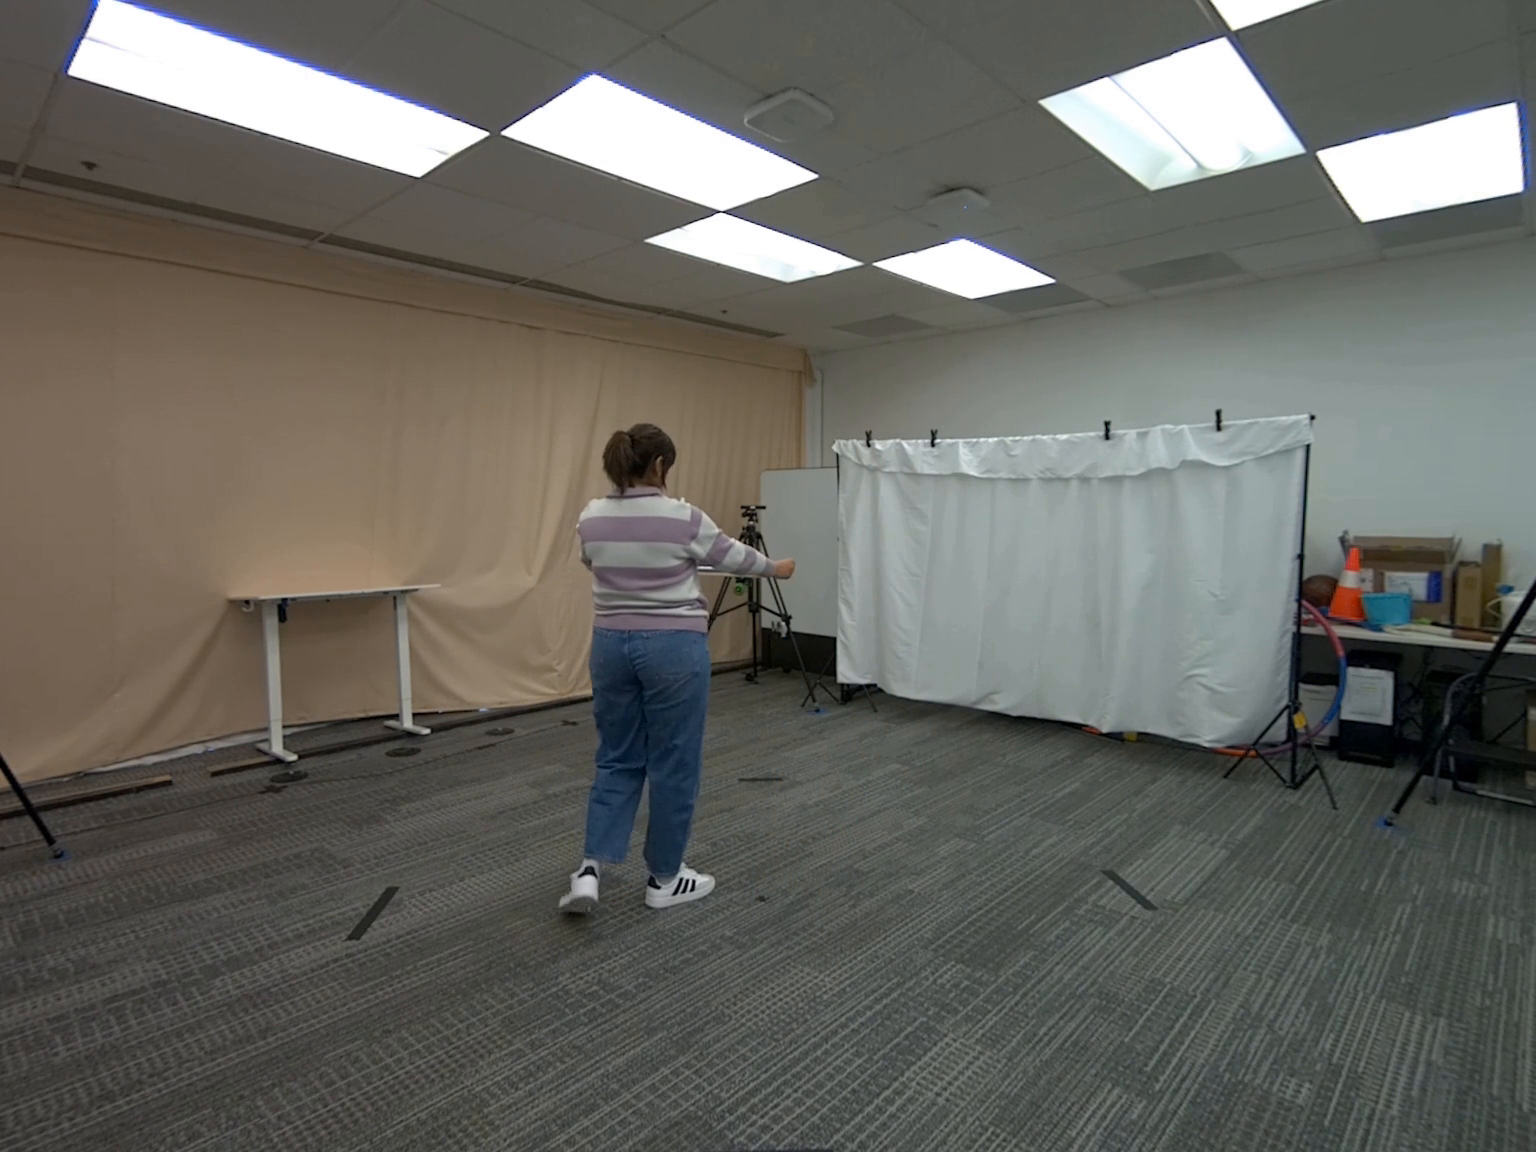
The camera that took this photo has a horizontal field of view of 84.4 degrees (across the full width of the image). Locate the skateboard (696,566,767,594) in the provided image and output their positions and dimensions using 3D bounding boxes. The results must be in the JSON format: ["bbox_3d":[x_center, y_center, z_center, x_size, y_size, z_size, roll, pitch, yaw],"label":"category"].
[{"bbox_3d":[-0.347,-0.003,3.430,0.798,0.110,0.191,2,6,15],"label":"skateboard"}]
